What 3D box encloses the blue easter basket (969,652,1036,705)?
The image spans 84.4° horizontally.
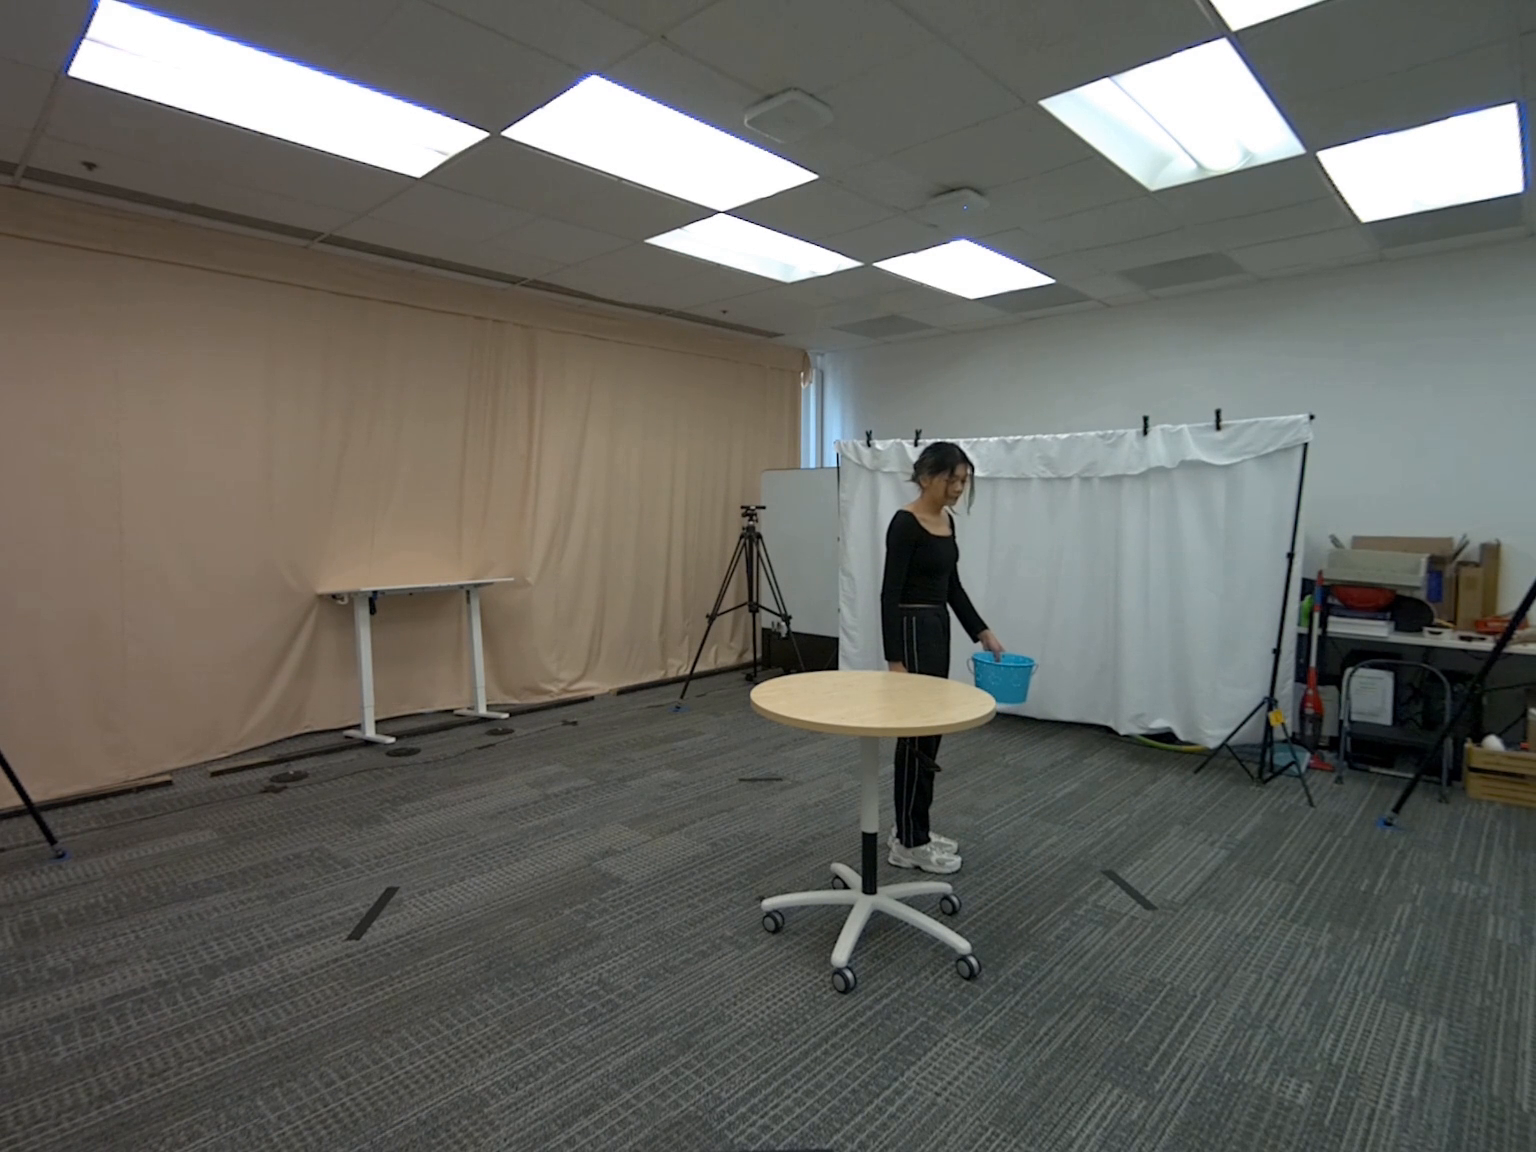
[{"bbox_3d":[0.889,0.383,3.162,0.243,0.155,0.244,2,4,-2],"label":"blue easter basket"}]
